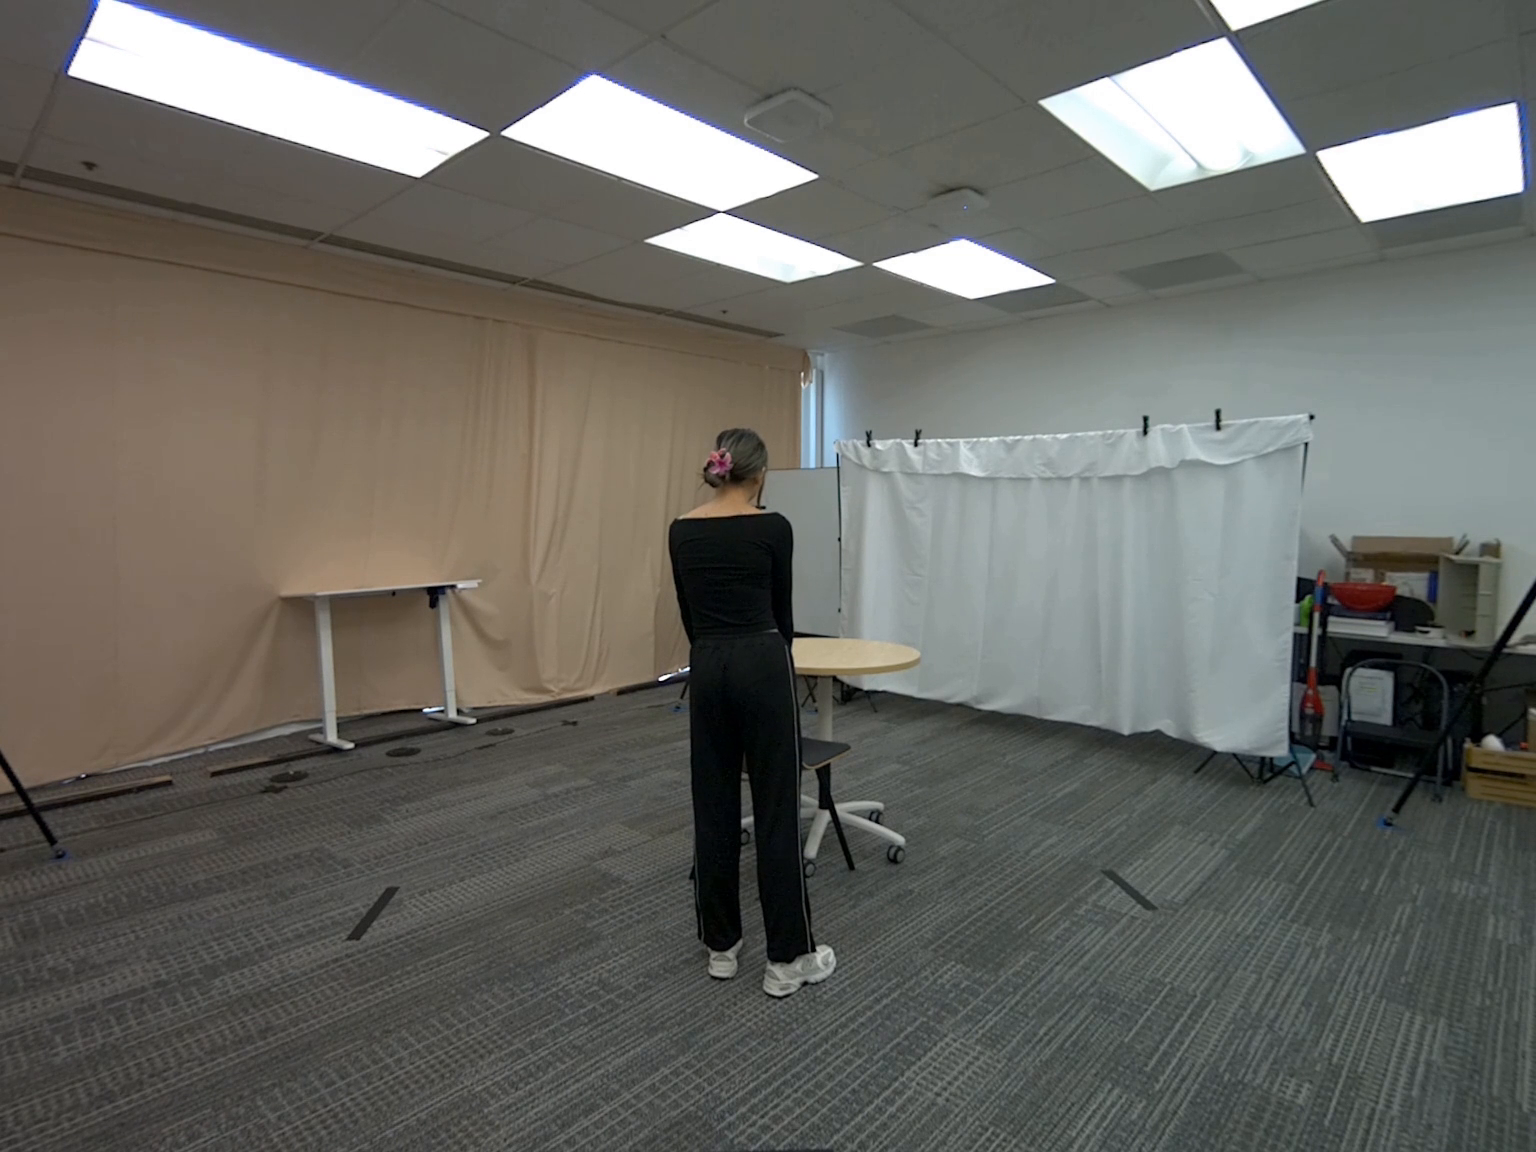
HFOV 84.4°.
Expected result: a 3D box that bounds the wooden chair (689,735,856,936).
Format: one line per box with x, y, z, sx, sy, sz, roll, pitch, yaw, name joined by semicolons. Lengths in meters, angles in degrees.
0.018;0.697;3.149;0.493;0.873;0.509;2;8;37;wooden chair
